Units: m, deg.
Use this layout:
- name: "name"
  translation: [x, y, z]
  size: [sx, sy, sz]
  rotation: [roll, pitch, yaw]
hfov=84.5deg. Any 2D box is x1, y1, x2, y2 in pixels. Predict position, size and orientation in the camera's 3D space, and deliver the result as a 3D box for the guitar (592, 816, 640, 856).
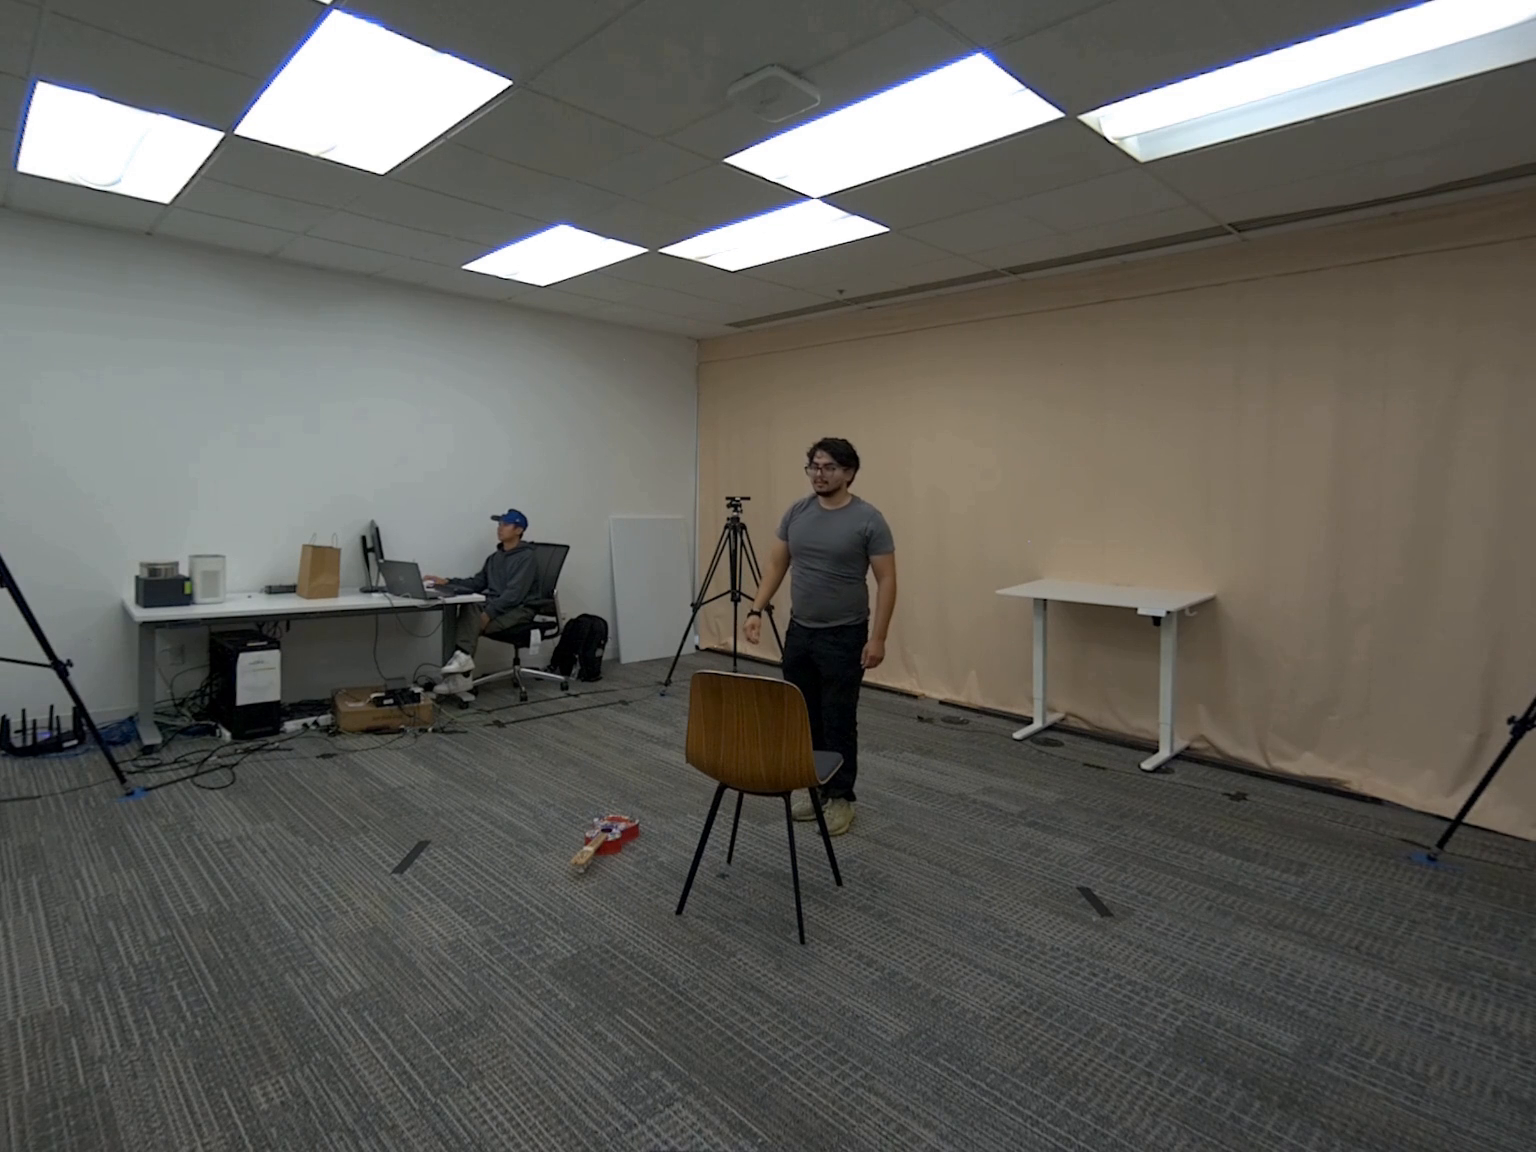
- name: "guitar"
  translation: [-0.690, 1.046, 3.291]
  size: [0.196, 0.070, 0.491]
  rotation: [3, 5, 18]
